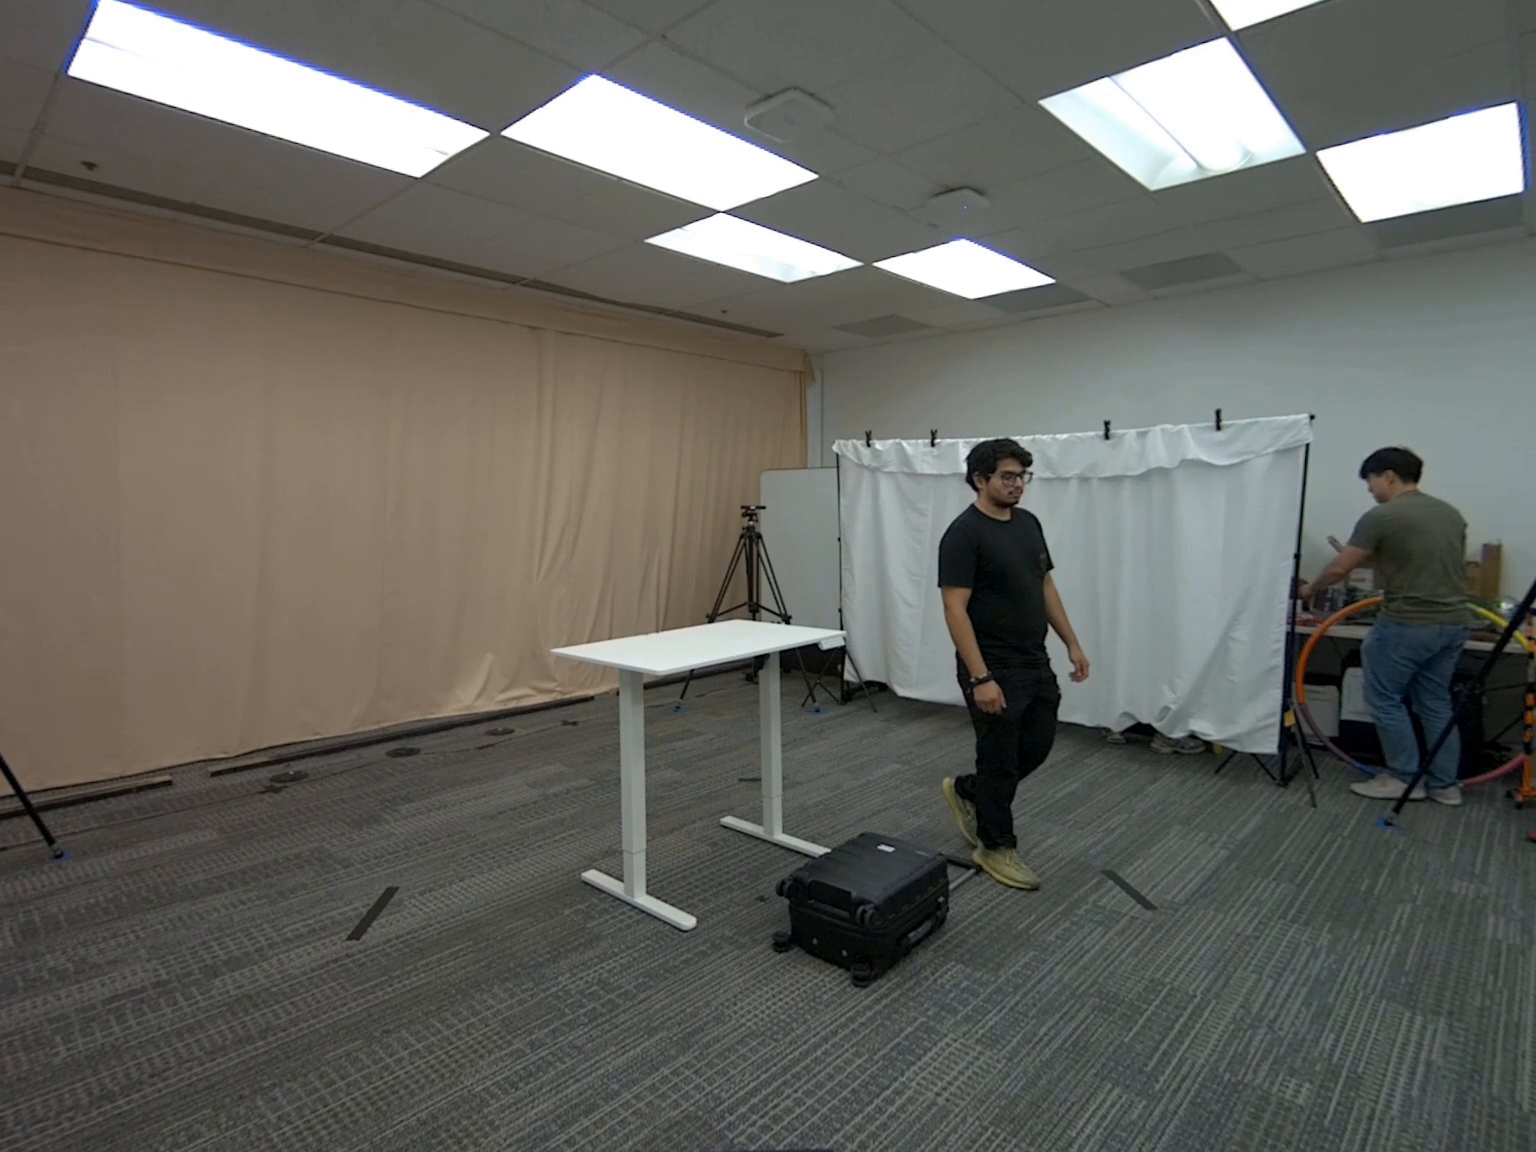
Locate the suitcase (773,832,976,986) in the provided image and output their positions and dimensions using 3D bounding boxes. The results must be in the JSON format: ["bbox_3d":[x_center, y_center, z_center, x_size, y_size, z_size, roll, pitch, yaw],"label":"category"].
[{"bbox_3d":[0.458,1.025,2.871,0.396,0.256,0.950,2,7,39],"label":"suitcase"}]
